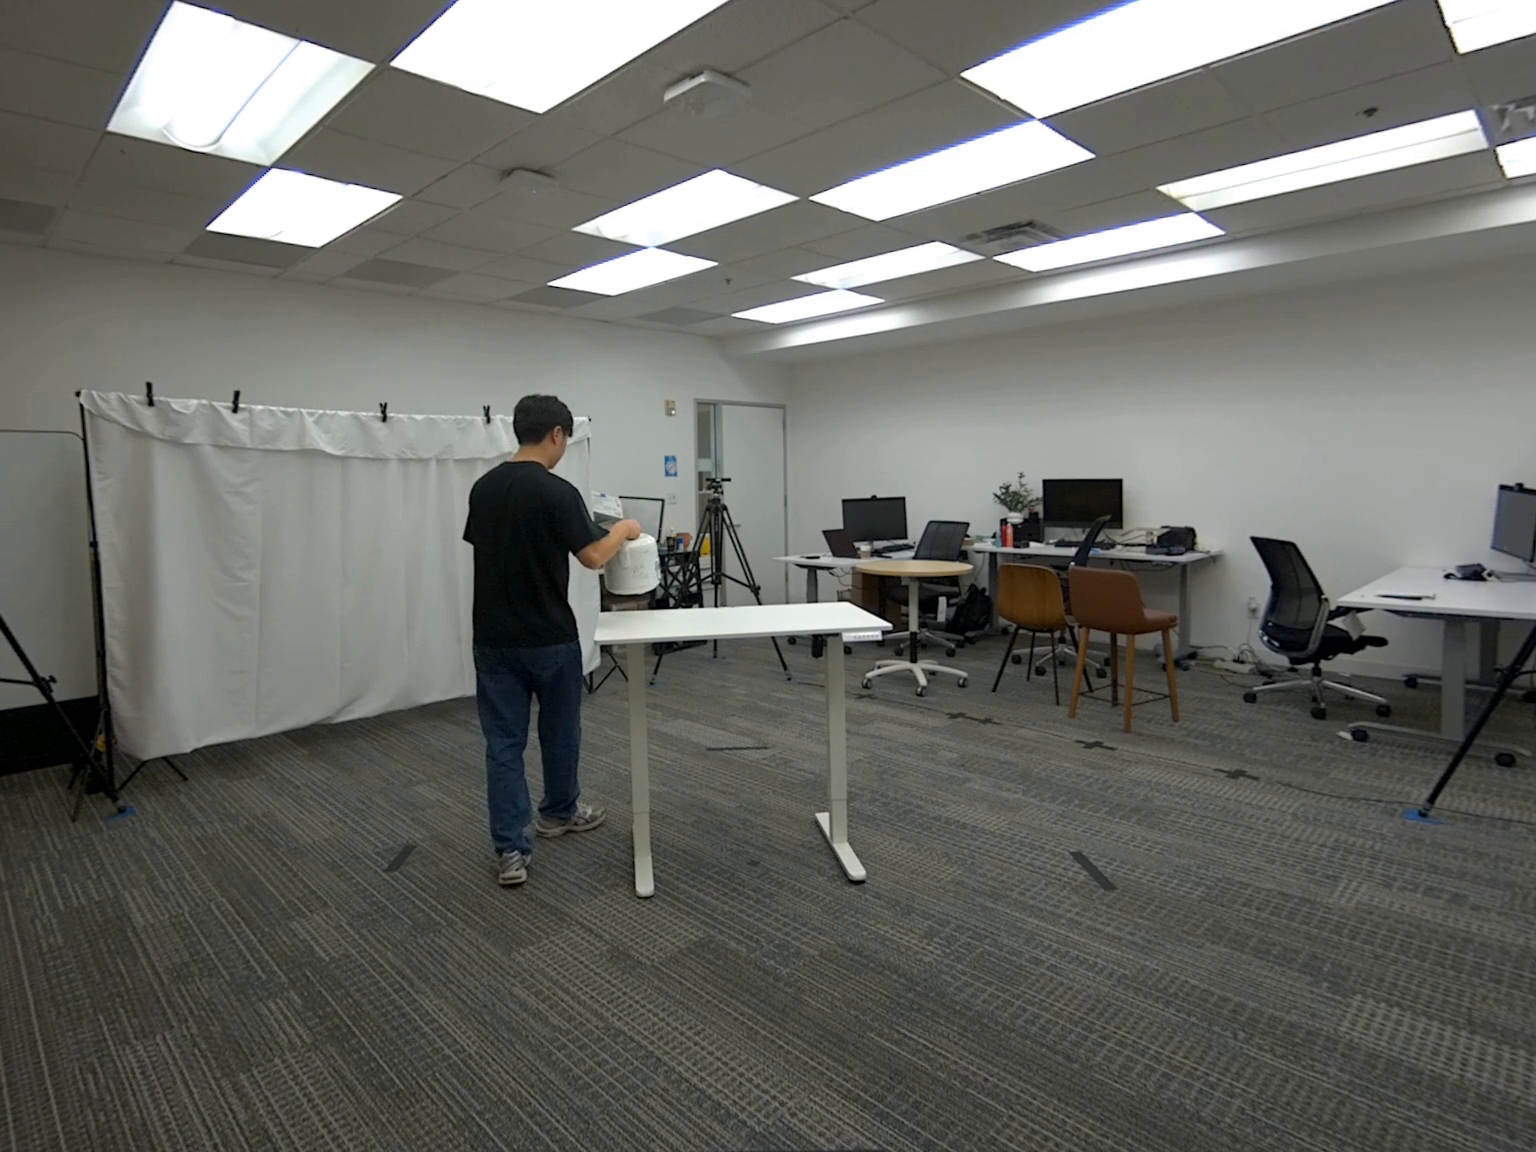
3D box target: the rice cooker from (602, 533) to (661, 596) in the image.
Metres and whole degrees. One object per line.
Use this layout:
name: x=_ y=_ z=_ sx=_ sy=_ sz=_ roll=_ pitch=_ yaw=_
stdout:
rice cooker: x=-0.523 y=-0.061 z=3.293 sx=0.219 sy=0.230 sz=0.221 roll=-5 pitch=12 yaw=7
